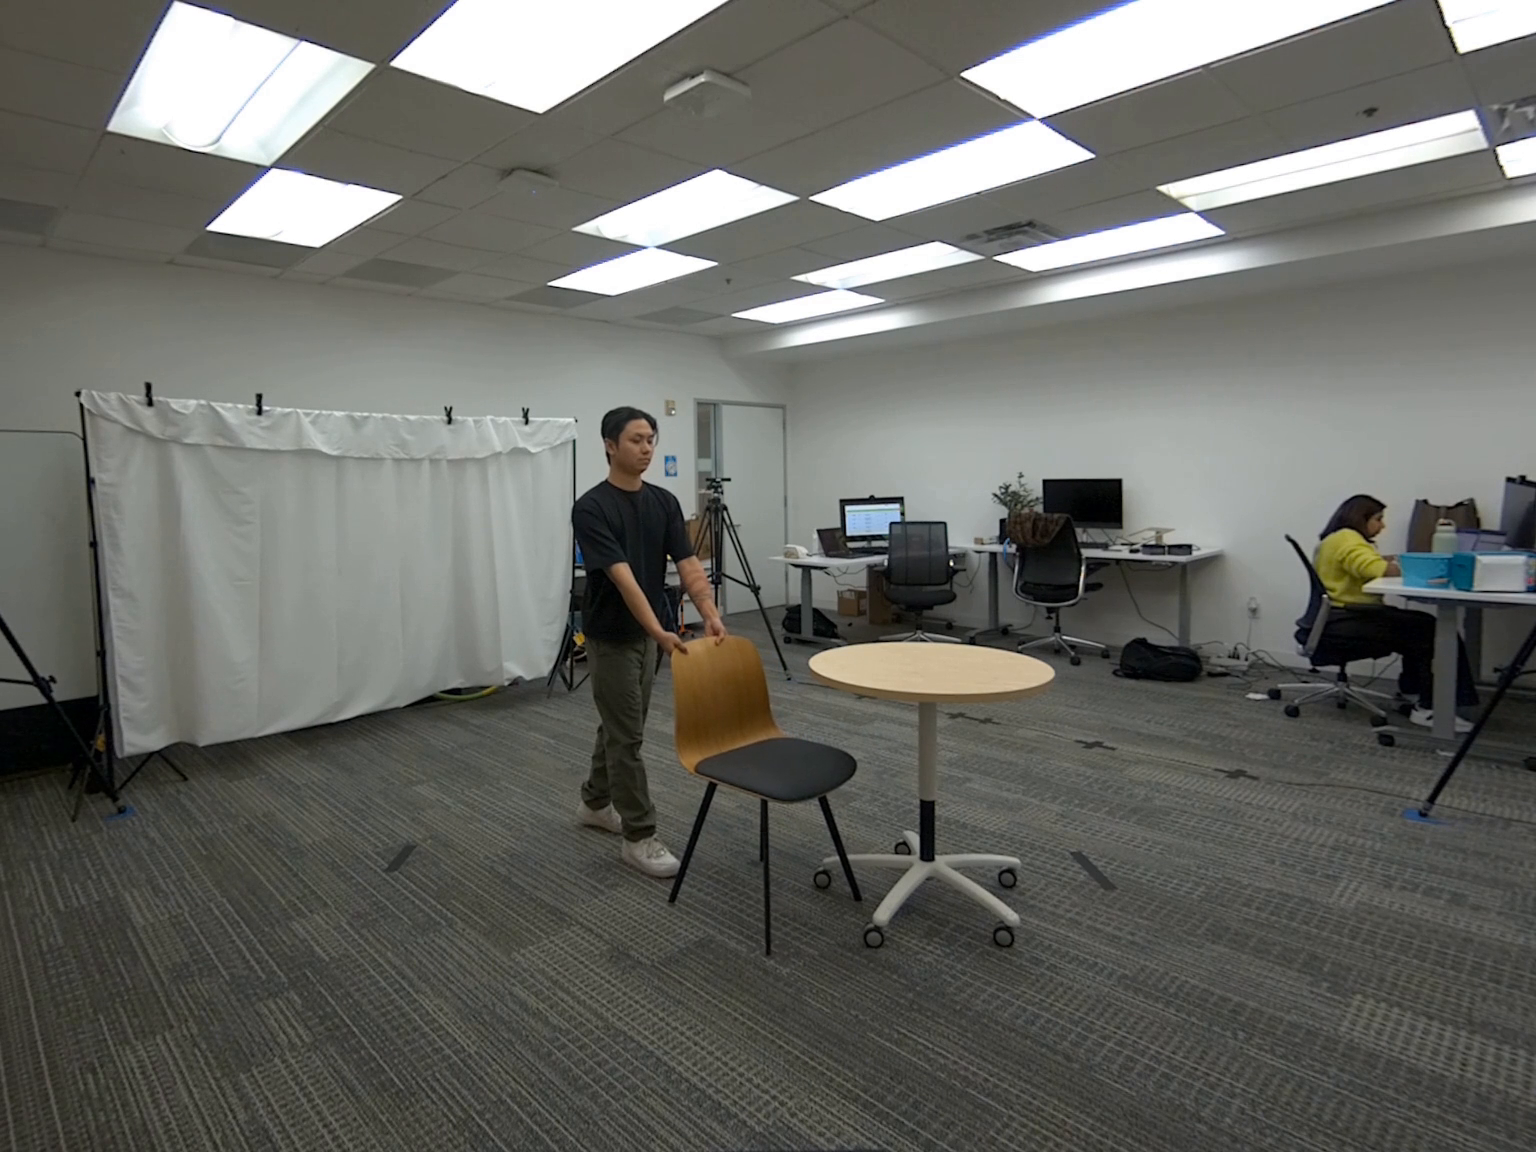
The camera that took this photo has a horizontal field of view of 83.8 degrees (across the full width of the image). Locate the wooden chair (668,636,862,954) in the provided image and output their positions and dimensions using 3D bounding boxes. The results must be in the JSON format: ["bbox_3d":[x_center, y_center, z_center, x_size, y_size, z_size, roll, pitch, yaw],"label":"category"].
[{"bbox_3d":[-0.009,0.651,2.776,0.537,0.877,0.465,-3,1,44],"label":"wooden chair"}]
